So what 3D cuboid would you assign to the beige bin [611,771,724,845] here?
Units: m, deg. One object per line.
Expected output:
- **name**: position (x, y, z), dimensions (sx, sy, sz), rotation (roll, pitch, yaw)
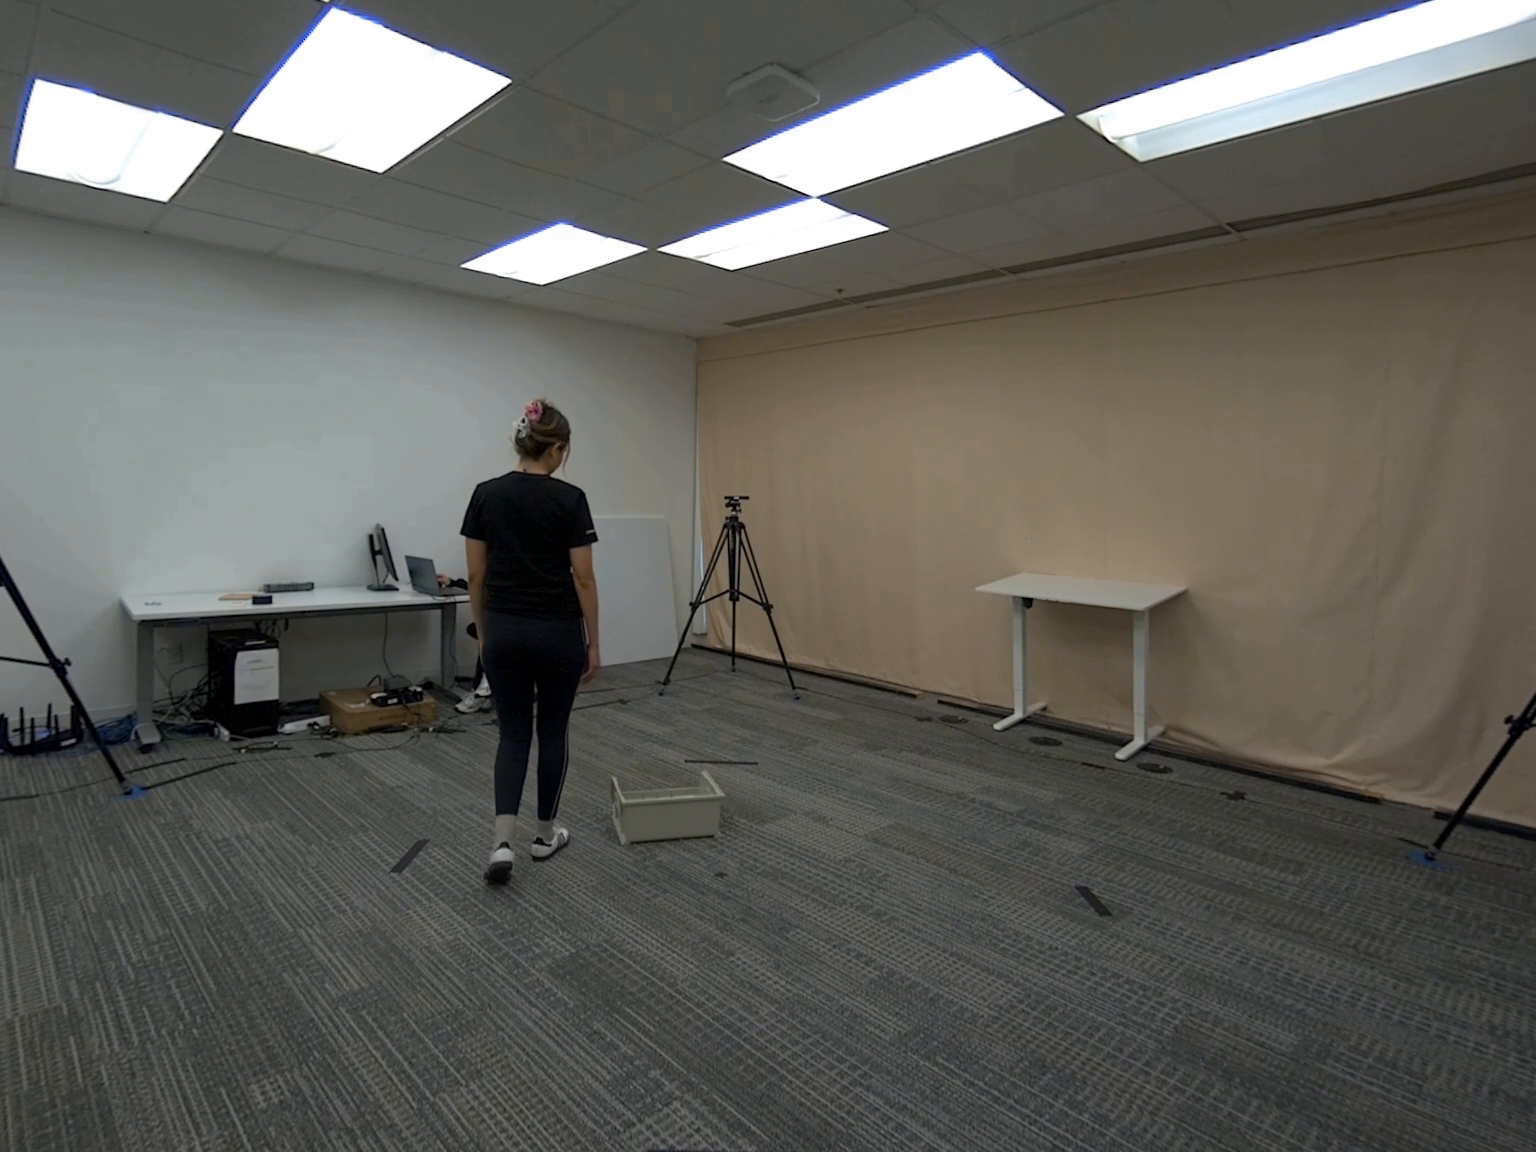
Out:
- **beige bin**: position (-0.445, 0.967, 3.566), dimensions (0.417, 0.188, 0.383), rotation (0, 6, -17)
